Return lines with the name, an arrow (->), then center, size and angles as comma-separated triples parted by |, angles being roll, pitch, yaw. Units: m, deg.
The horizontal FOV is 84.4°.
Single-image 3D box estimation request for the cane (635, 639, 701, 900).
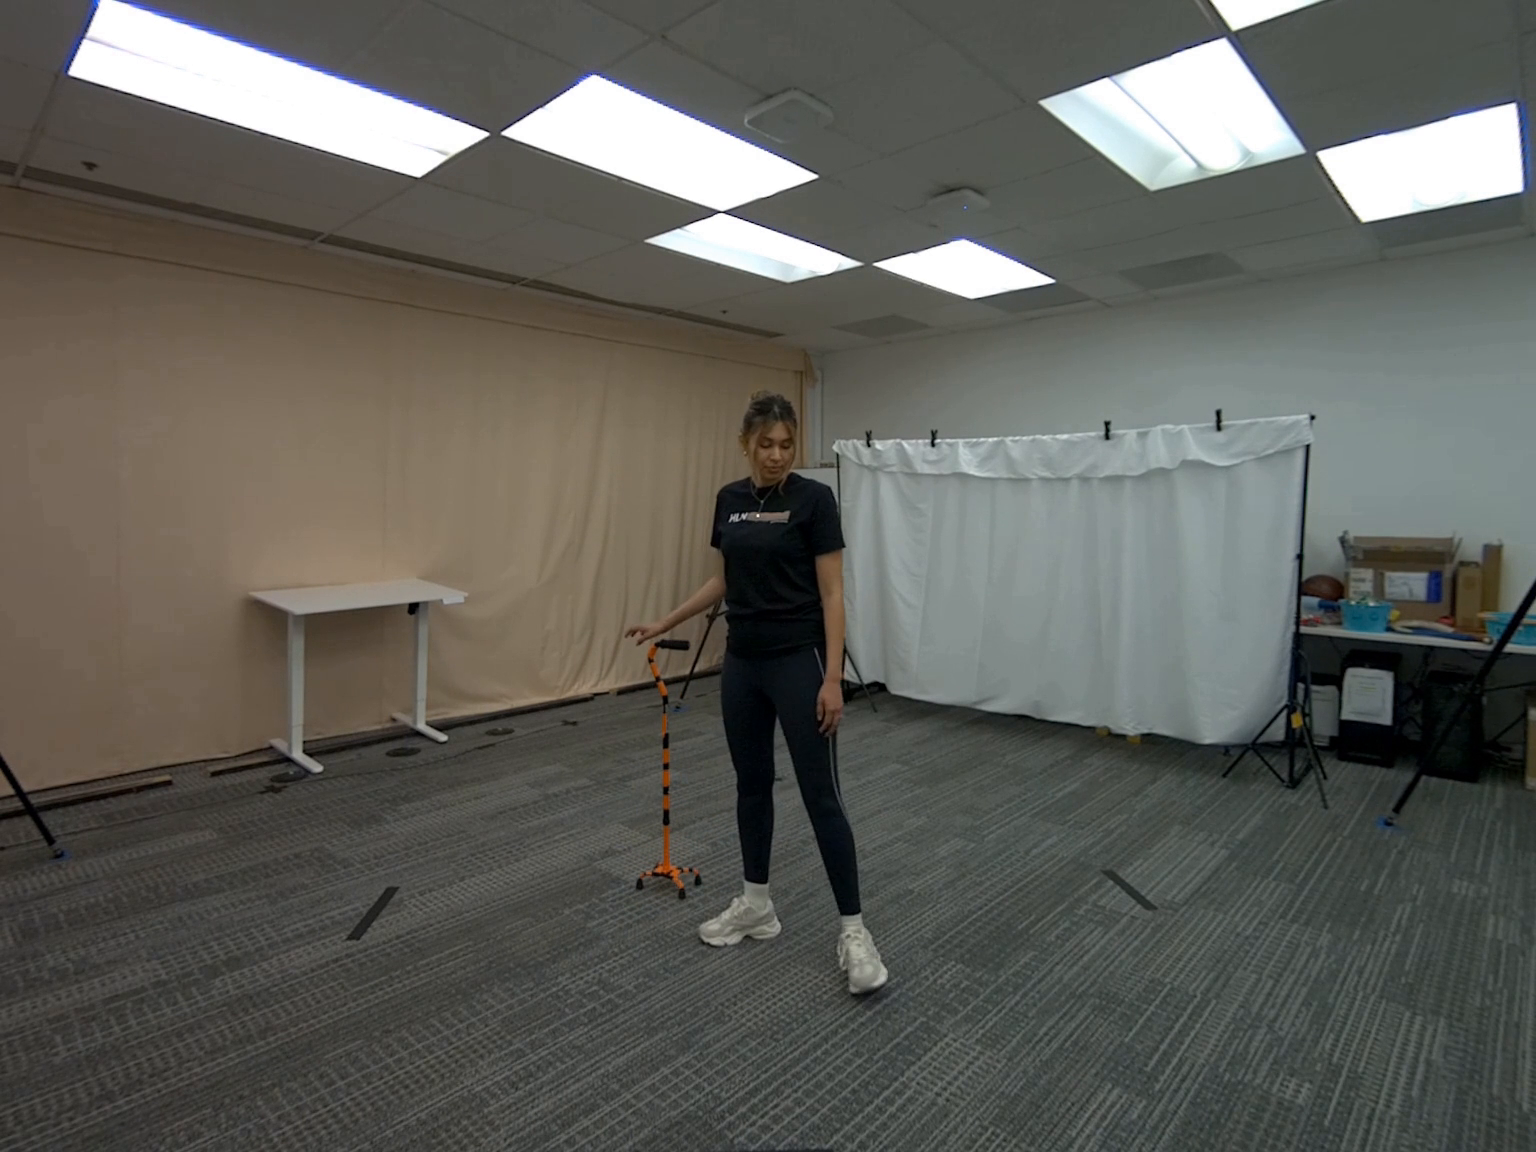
cane -> -0.364, 0.683, 3.068 | 0.211, 0.906, 0.148 | 0, 3, 23
